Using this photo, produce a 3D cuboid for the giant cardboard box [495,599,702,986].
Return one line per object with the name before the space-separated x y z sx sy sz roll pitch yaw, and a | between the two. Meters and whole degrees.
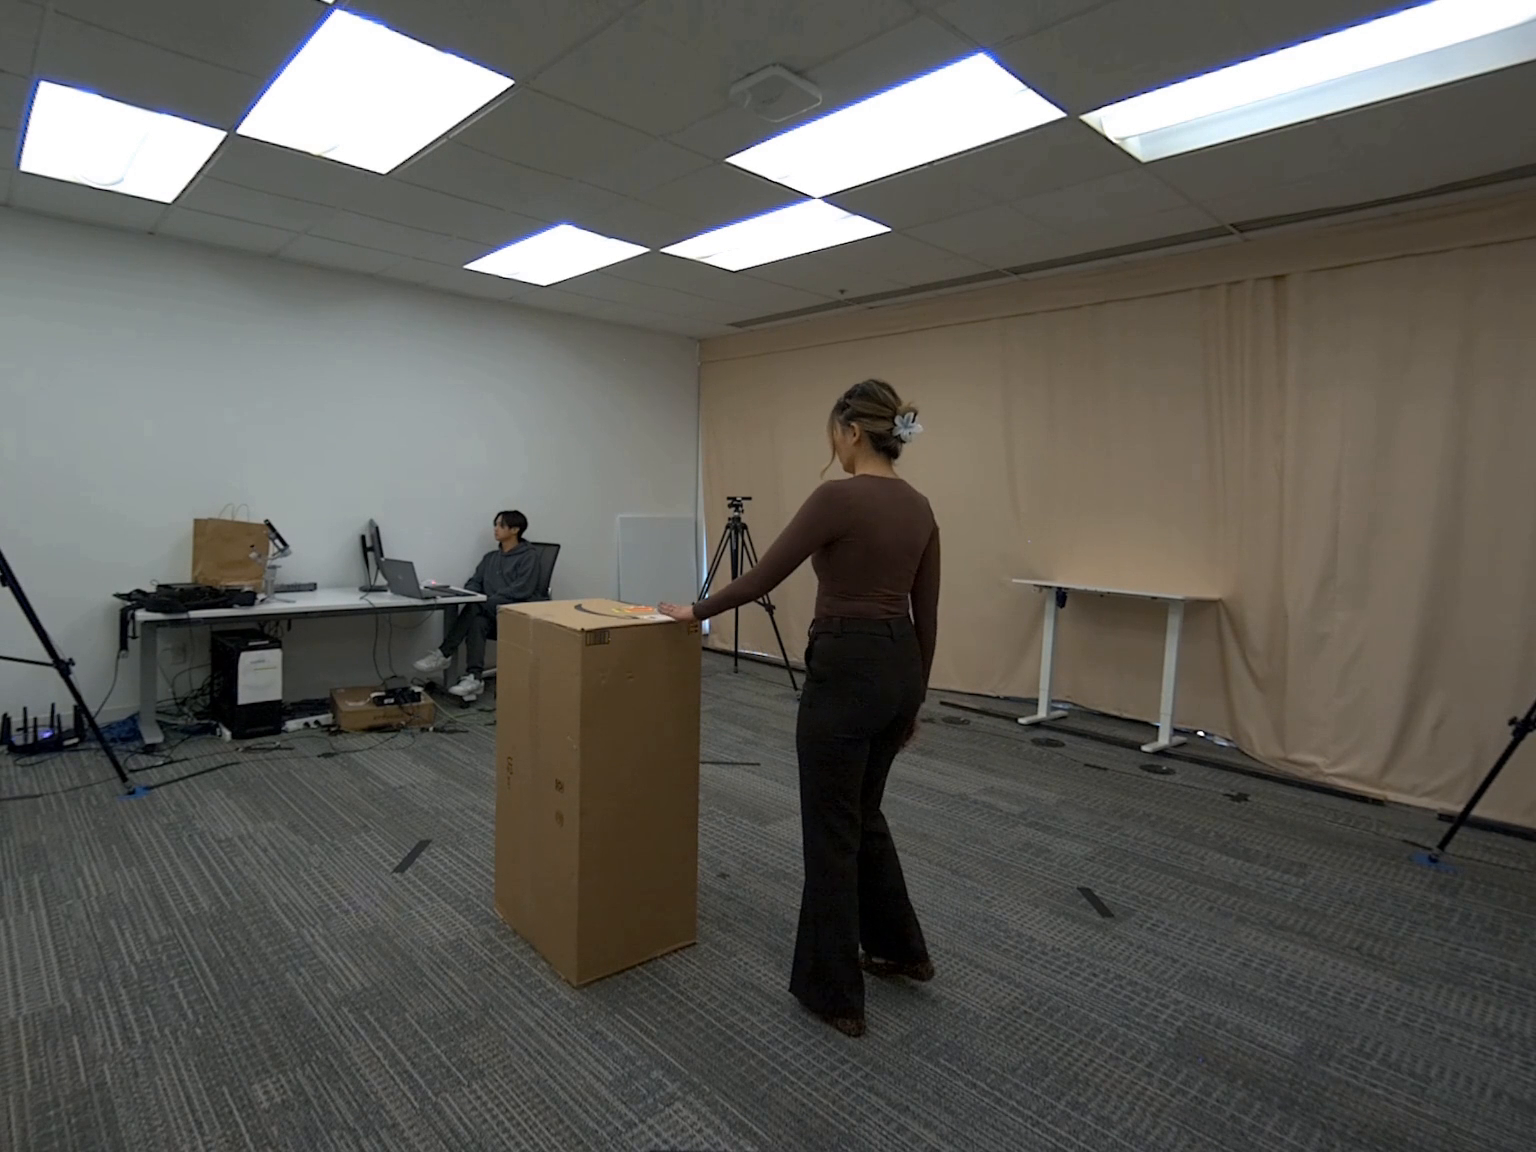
giant cardboard box | -0.560 0.624 2.696 0.436 1.025 0.598 0 3 -38
